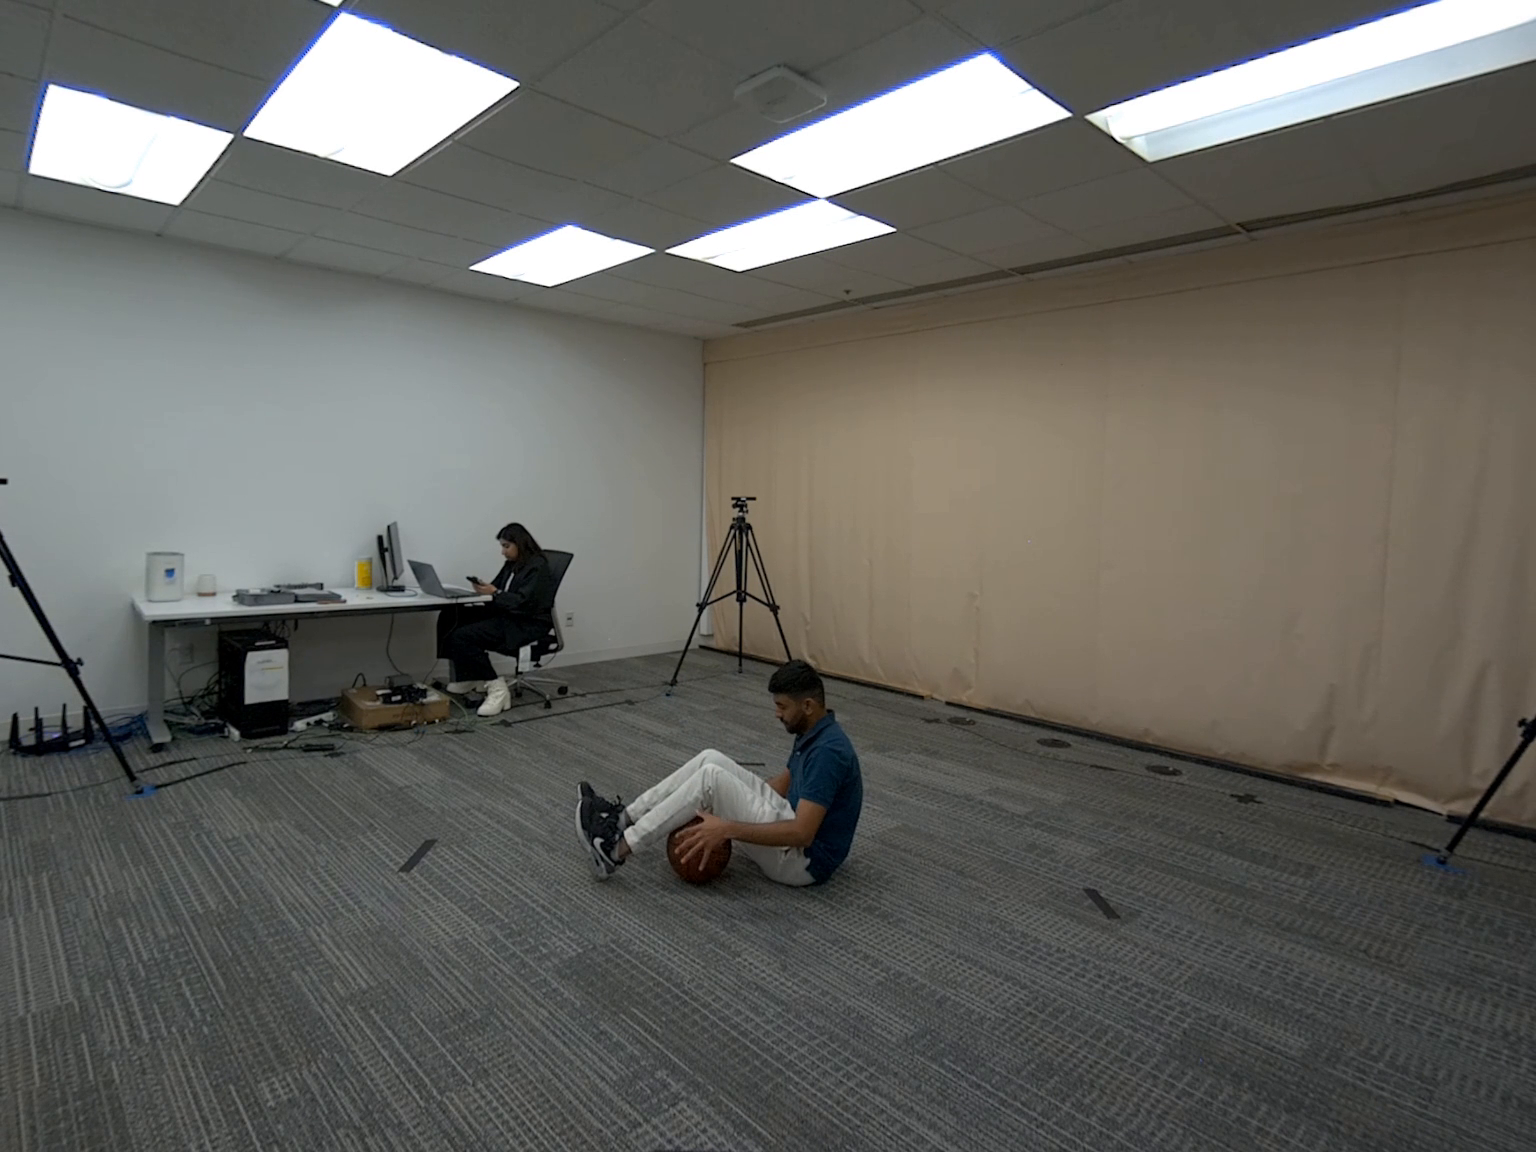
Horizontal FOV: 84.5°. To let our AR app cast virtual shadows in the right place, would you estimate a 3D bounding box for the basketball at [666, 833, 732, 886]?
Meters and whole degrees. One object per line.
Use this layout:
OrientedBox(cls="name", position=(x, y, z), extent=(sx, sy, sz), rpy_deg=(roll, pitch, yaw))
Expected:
OrientedBox(cls="basketball", position=(-0.249, 0.983, 3.057), extent=(0.236, 0.235, 0.237), rpy_deg=(1, 4, -1))
